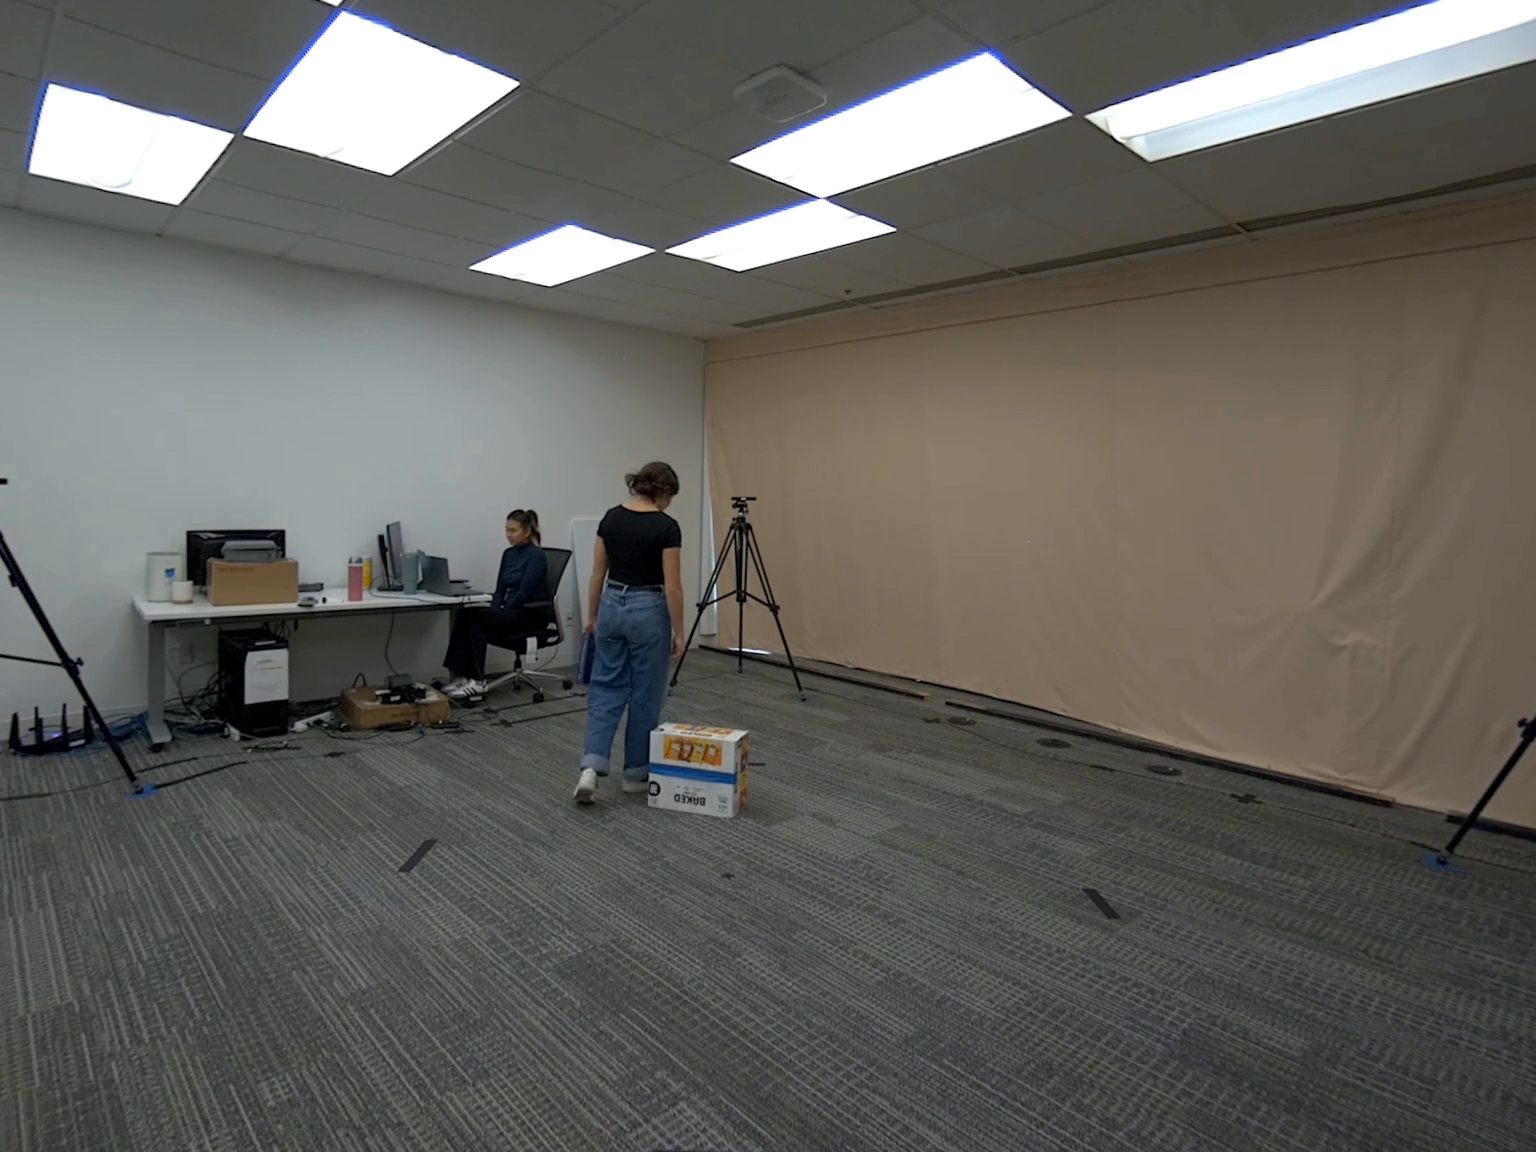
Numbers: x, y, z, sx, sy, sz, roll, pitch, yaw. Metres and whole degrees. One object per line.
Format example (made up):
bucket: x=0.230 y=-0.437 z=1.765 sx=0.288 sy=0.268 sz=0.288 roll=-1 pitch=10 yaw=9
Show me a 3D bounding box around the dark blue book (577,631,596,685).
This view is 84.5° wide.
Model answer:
dark blue book: x=-0.841 y=0.399 z=4.048 sx=0.046 sy=0.247 sz=0.159 roll=0 pitch=-10 yaw=25
